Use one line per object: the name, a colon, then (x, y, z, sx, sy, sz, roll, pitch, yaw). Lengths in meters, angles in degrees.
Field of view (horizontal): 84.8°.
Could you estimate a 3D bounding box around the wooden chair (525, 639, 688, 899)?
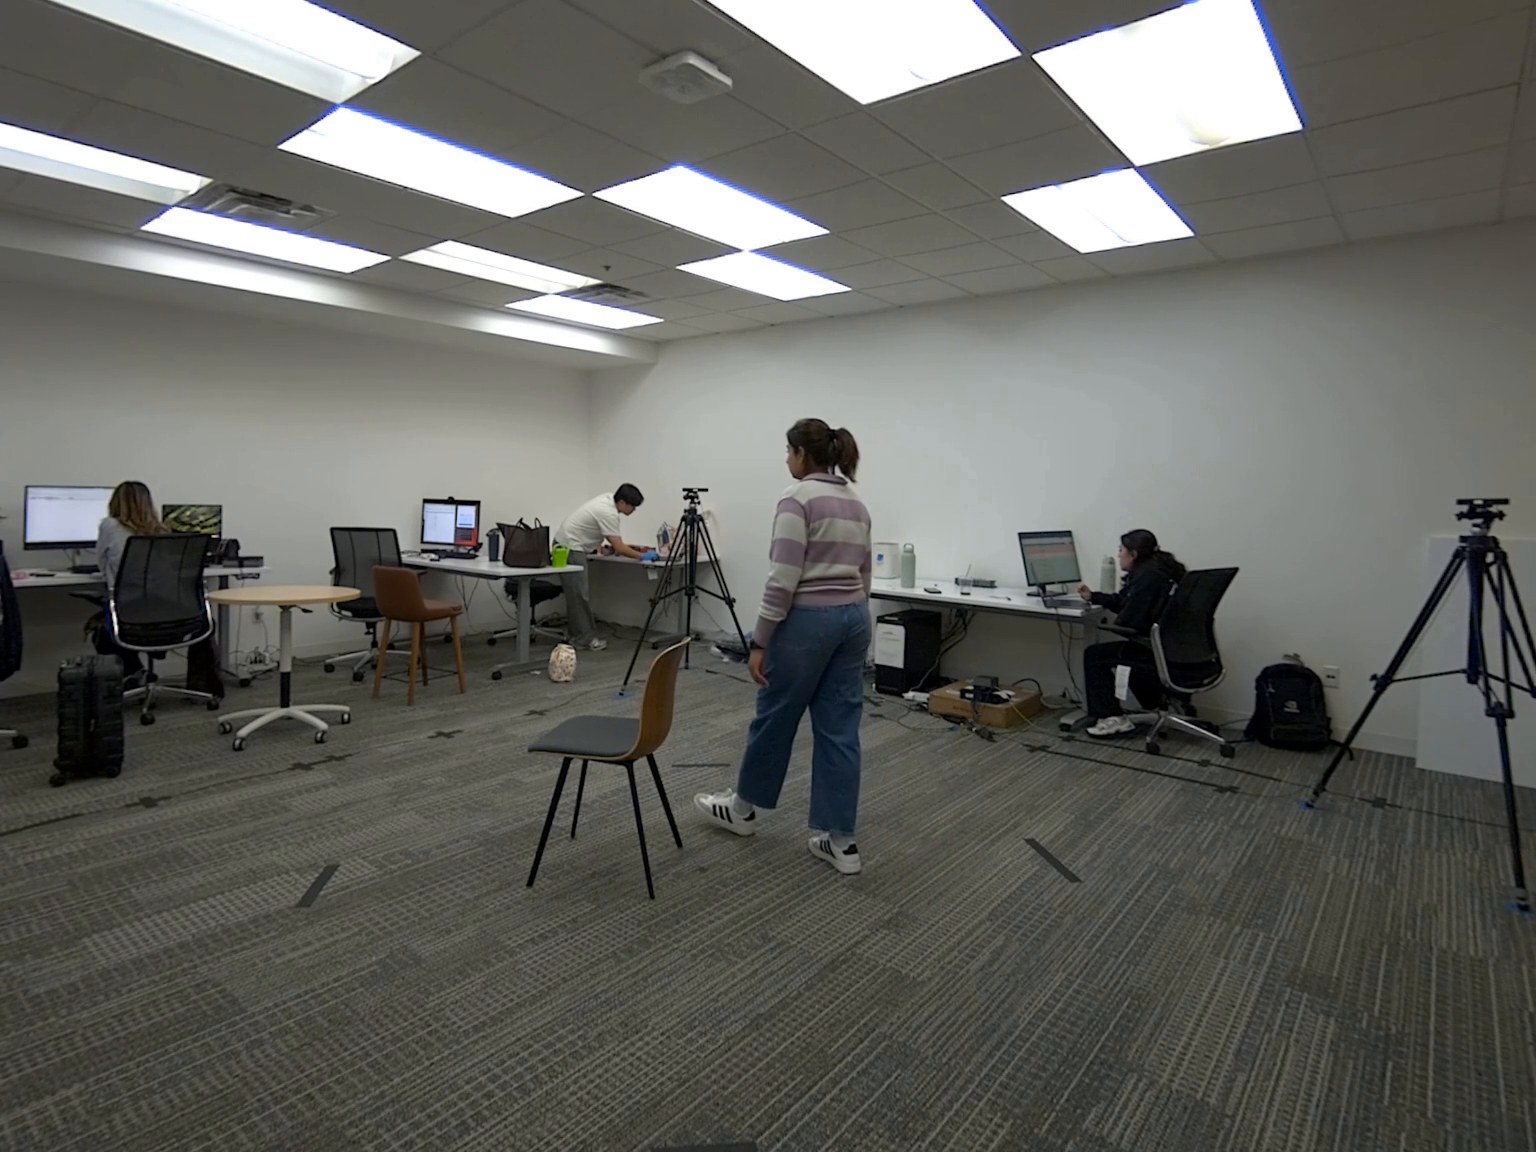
wooden chair: (-0.594, 0.638, 3.100, 0.529, 0.875, 0.474, 5, 4, 9)
